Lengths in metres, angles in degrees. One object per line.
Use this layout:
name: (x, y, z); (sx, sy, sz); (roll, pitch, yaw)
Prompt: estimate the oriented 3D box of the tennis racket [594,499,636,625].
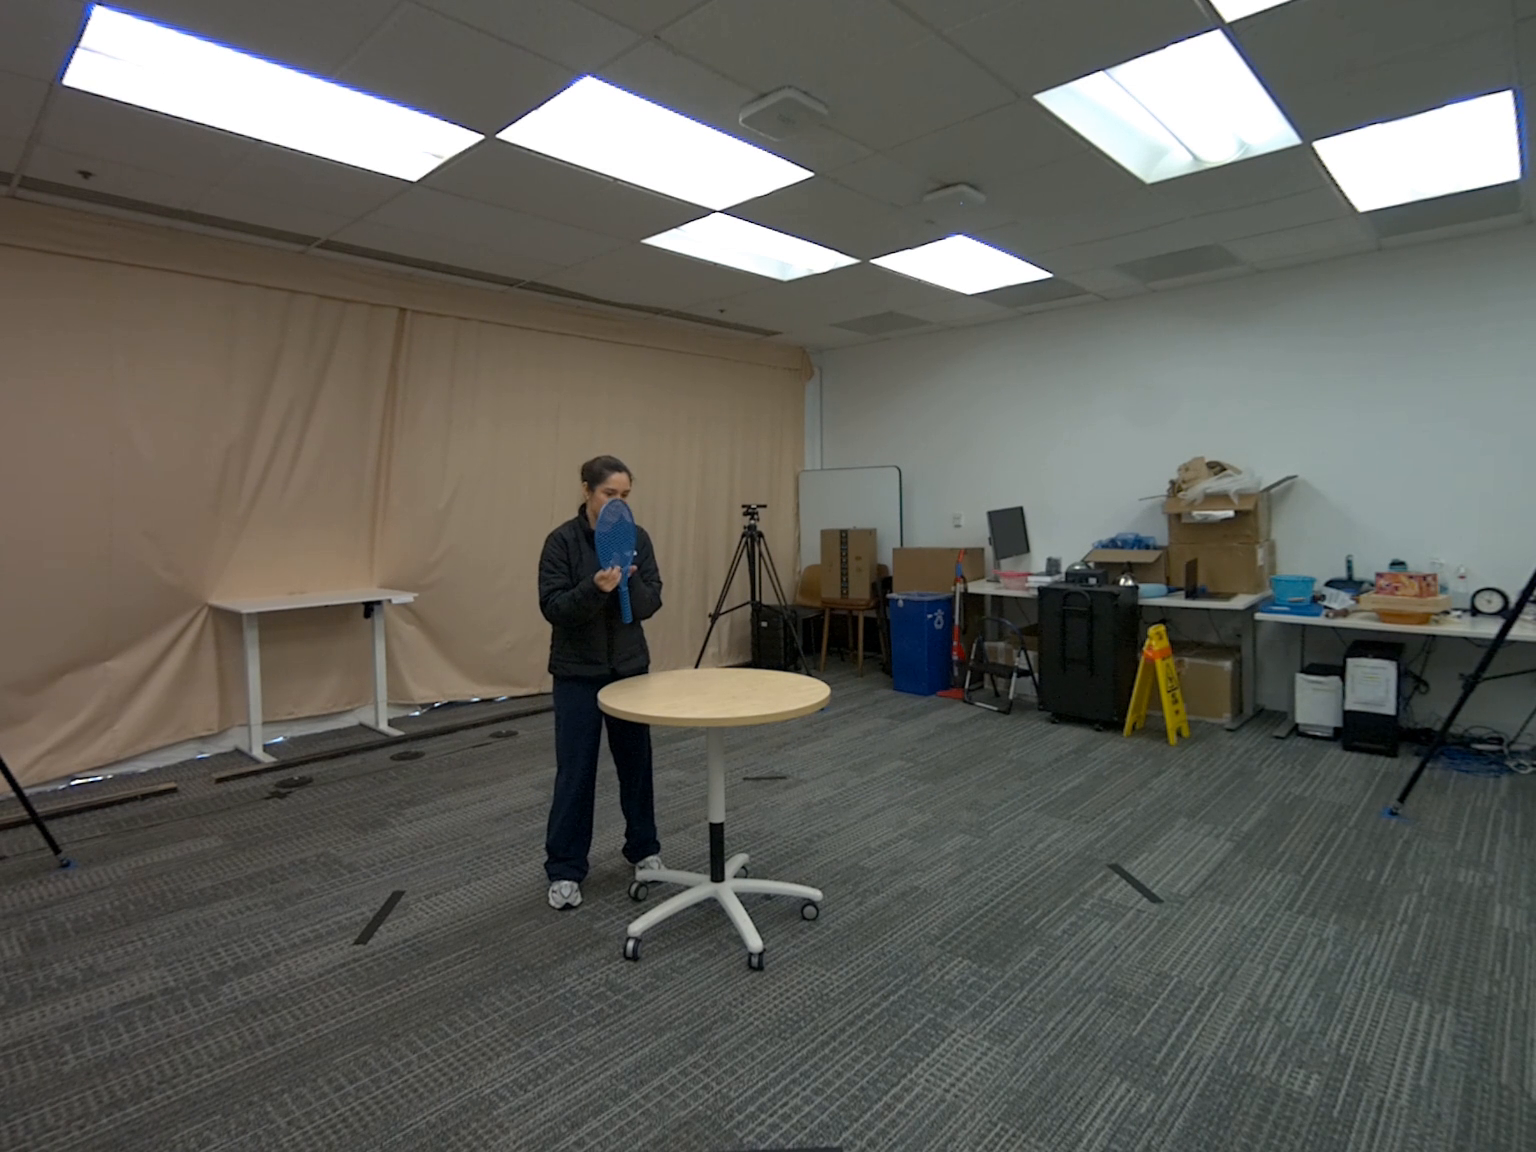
tennis racket: (-0.473, -0.036, 2.768); (0.032, 0.426, 0.211); (9, 25, 26)
